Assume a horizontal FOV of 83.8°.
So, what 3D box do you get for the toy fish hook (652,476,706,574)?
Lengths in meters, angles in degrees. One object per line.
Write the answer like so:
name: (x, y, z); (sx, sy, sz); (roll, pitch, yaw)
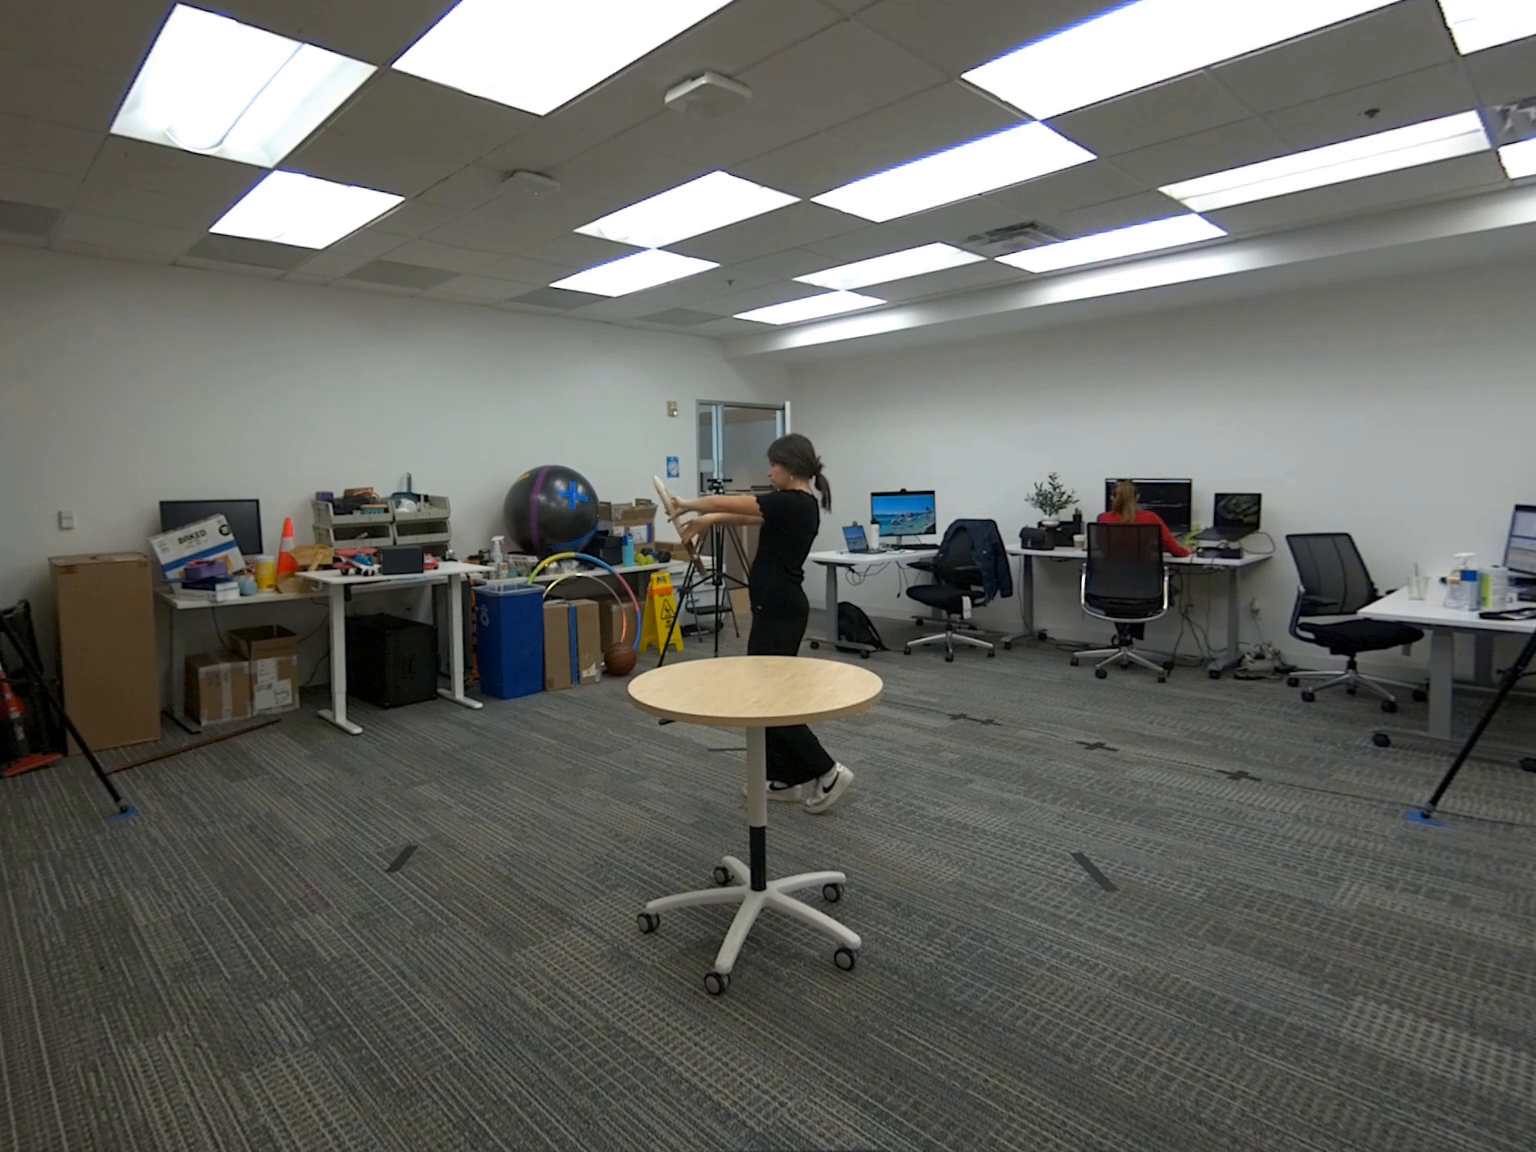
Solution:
toy fish hook: (-0.403, -0.226, 3.858); (0.048, 0.501, 0.227); (-25, 8, -2)
